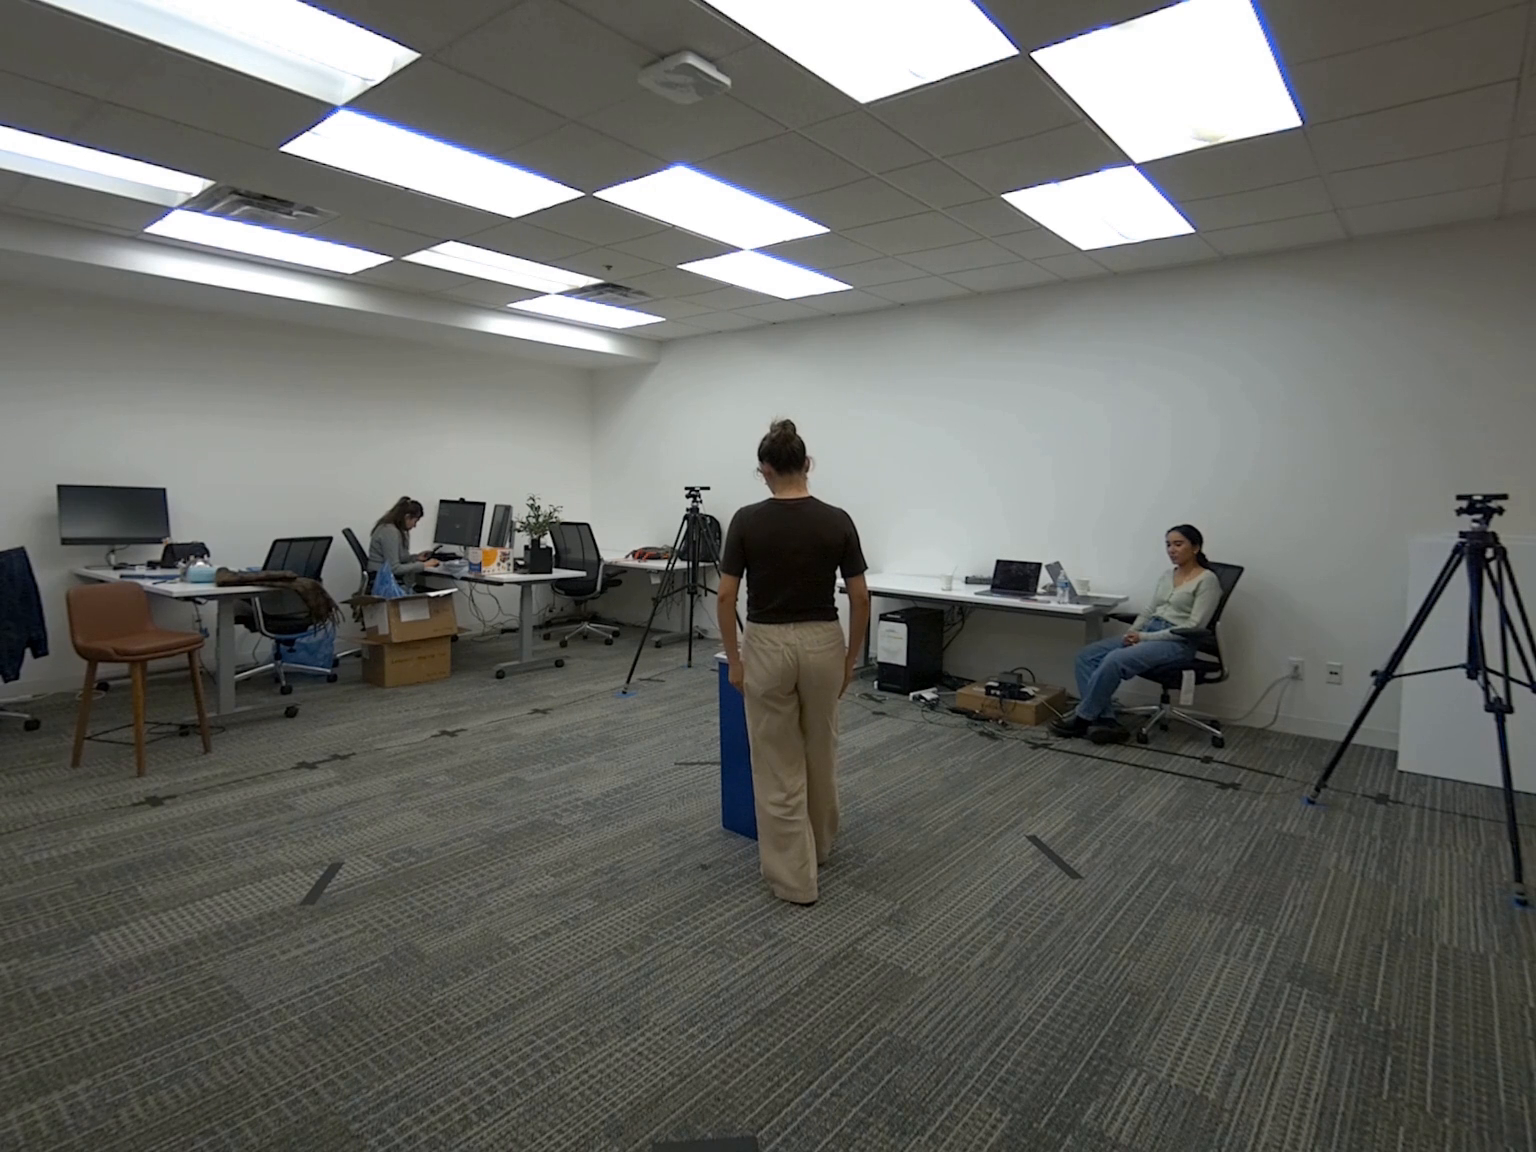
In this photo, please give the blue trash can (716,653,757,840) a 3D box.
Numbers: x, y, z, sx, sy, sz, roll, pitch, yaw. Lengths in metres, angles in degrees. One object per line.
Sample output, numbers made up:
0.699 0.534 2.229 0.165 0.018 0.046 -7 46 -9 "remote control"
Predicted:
0.013 0.669 3.488 0.391 0.711 0.363 4 5 41 "blue trash can"
